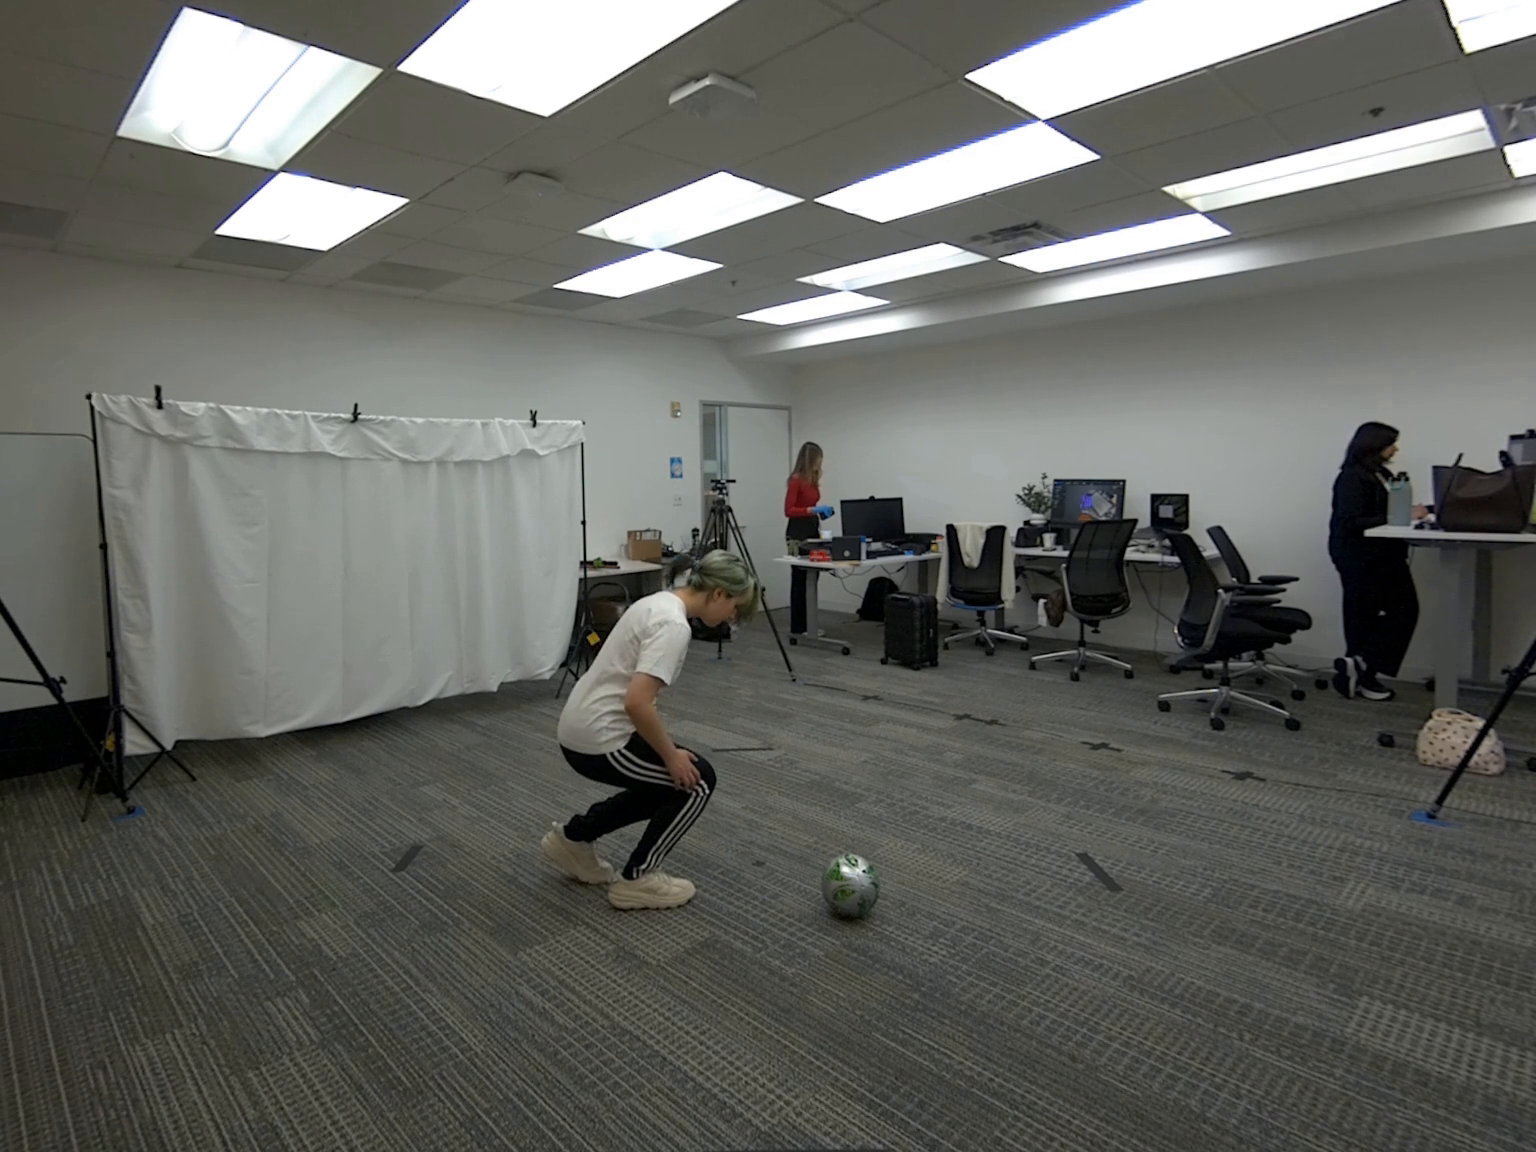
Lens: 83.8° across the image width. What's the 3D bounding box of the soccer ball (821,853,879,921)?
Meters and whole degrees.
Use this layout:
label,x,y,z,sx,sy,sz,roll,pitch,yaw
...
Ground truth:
label,x,y,z,sx,sy,sz,roll,pitch,yaw
soccer ball,0.260,0.982,2.735,0.187,0.187,0.188,-1,5,-2
